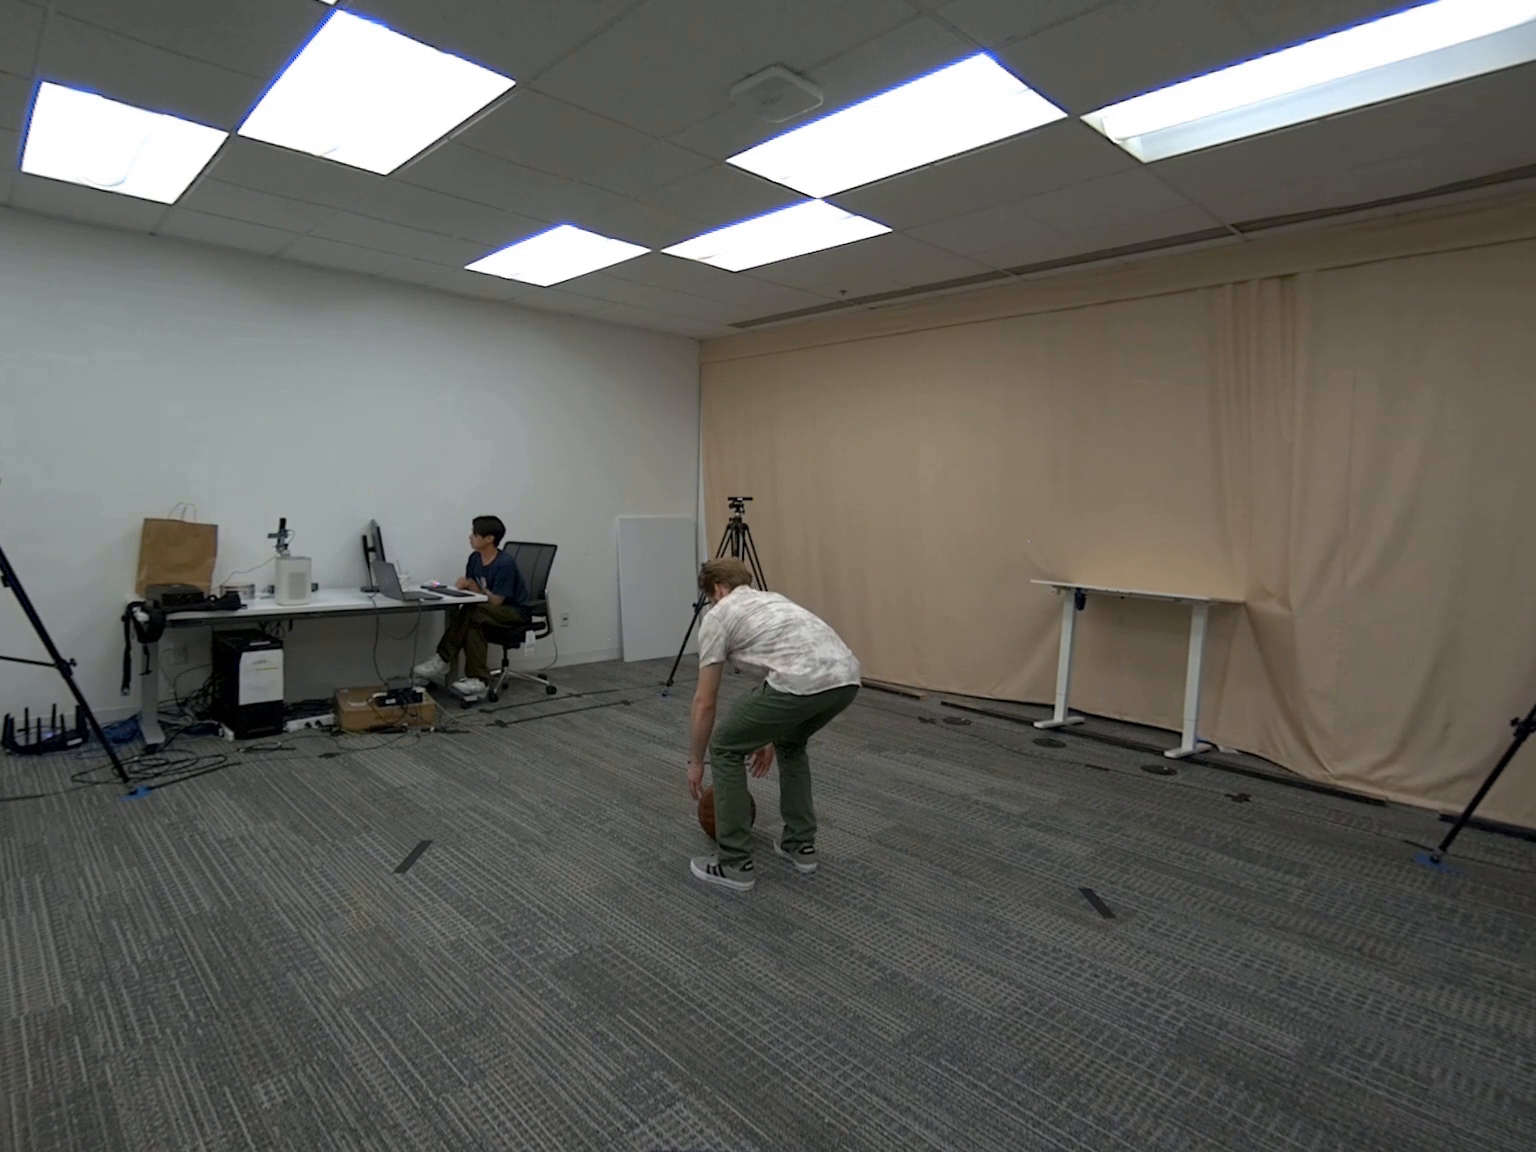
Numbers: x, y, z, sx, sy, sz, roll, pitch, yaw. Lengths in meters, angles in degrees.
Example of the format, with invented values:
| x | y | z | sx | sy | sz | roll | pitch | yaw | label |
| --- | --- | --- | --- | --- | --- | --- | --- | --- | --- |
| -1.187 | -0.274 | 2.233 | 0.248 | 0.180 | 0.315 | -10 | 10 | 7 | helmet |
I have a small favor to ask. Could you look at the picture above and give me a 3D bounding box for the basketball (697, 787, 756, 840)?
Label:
| x | y | z | sx | sy | sz | roll | pitch | yaw | label |
| --- | --- | --- | --- | --- | --- | --- | --- | --- | --- |
| -0.173 | 0.956 | 3.433 | 0.236 | 0.235 | 0.237 | 1 | 4 | -1 | basketball |
